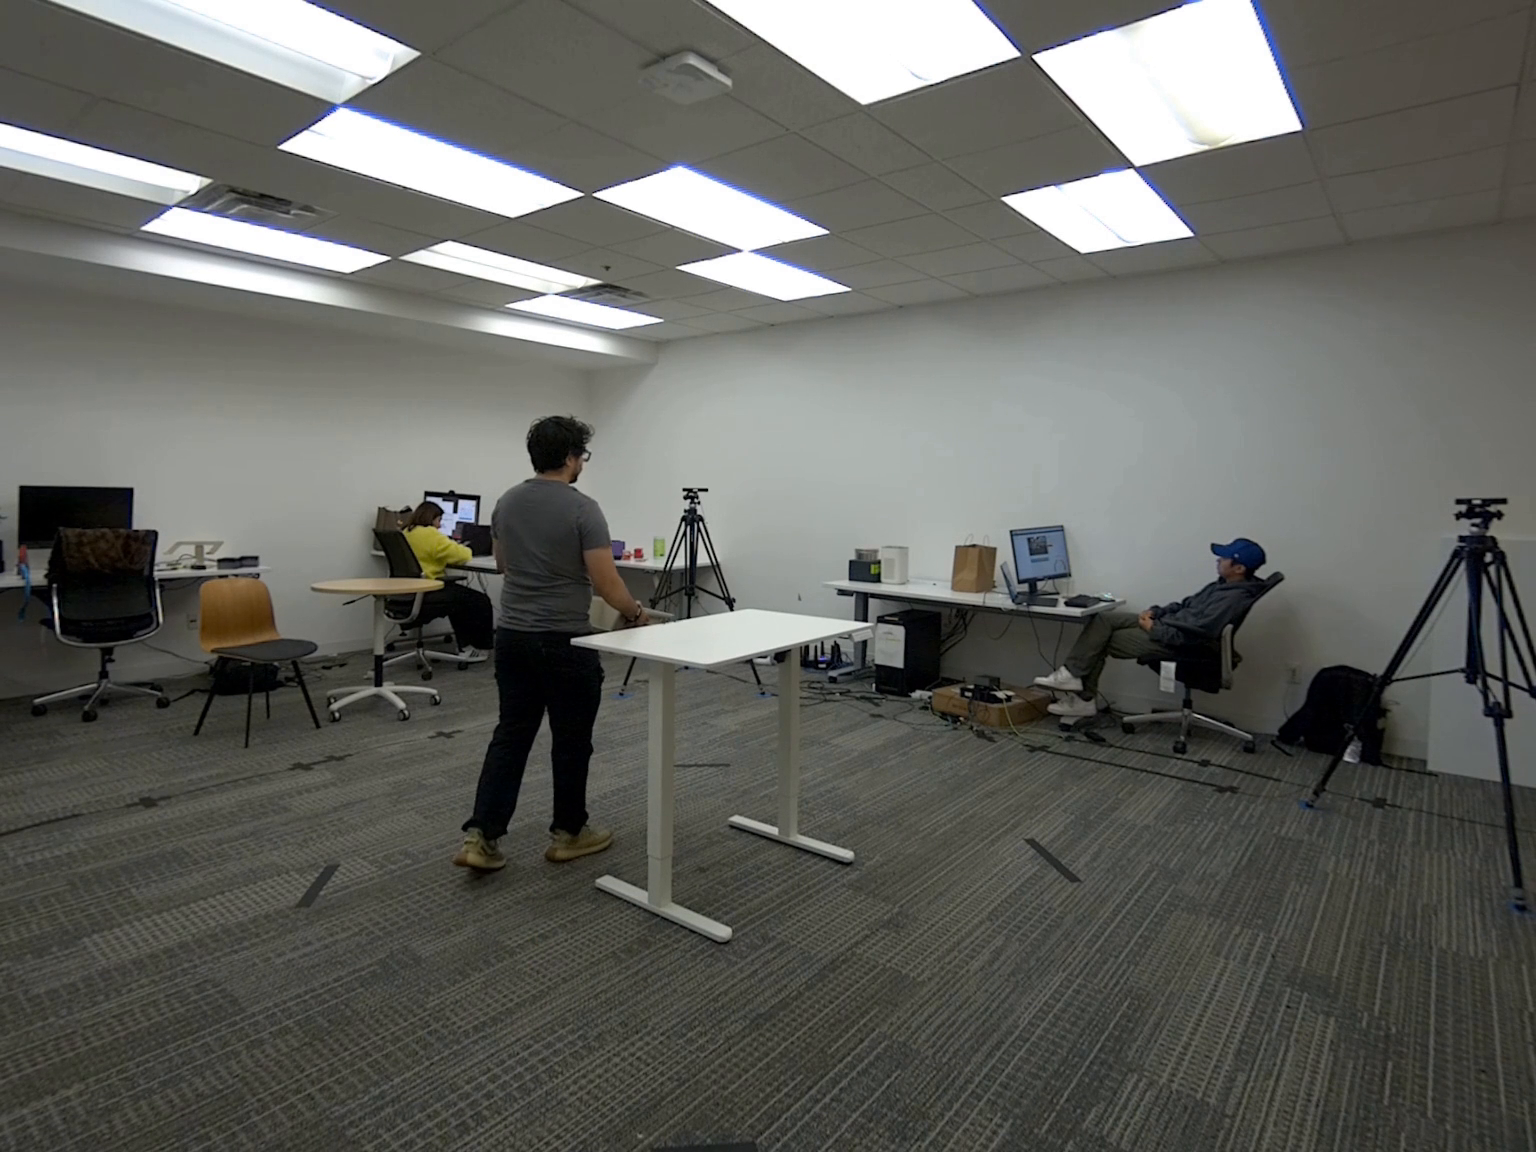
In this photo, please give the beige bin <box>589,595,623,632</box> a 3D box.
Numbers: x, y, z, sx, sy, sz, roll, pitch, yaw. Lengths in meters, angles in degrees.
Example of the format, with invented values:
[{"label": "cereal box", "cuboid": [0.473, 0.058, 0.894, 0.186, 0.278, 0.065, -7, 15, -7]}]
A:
[{"label": "beige bin", "cuboid": [-0.678, 0.193, 3.486, 0.437, 0.189, 0.364, 10, -3, 34]}]
